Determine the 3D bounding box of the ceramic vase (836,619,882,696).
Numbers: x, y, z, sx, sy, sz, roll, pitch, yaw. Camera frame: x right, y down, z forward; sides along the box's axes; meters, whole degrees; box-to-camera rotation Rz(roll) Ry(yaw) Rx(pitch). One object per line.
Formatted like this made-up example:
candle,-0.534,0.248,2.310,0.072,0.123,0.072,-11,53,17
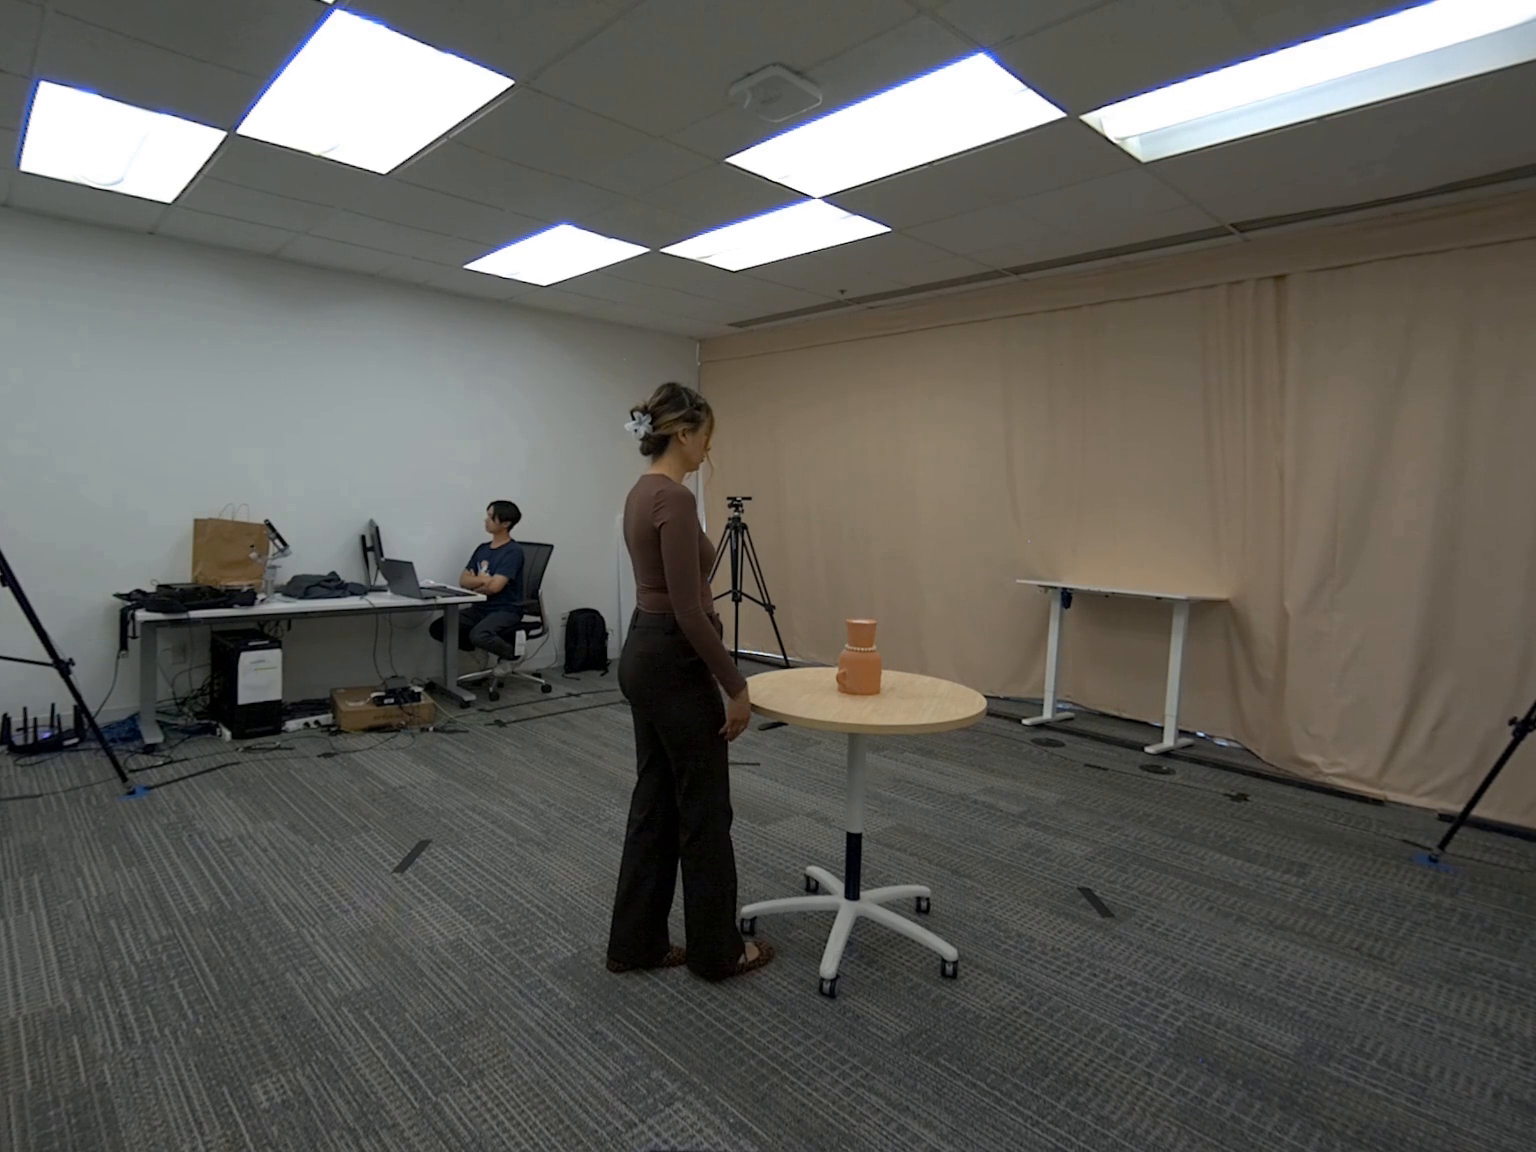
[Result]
ceramic vase,0.286,0.253,2.637,0.136,0.219,0.158,4,3,10
